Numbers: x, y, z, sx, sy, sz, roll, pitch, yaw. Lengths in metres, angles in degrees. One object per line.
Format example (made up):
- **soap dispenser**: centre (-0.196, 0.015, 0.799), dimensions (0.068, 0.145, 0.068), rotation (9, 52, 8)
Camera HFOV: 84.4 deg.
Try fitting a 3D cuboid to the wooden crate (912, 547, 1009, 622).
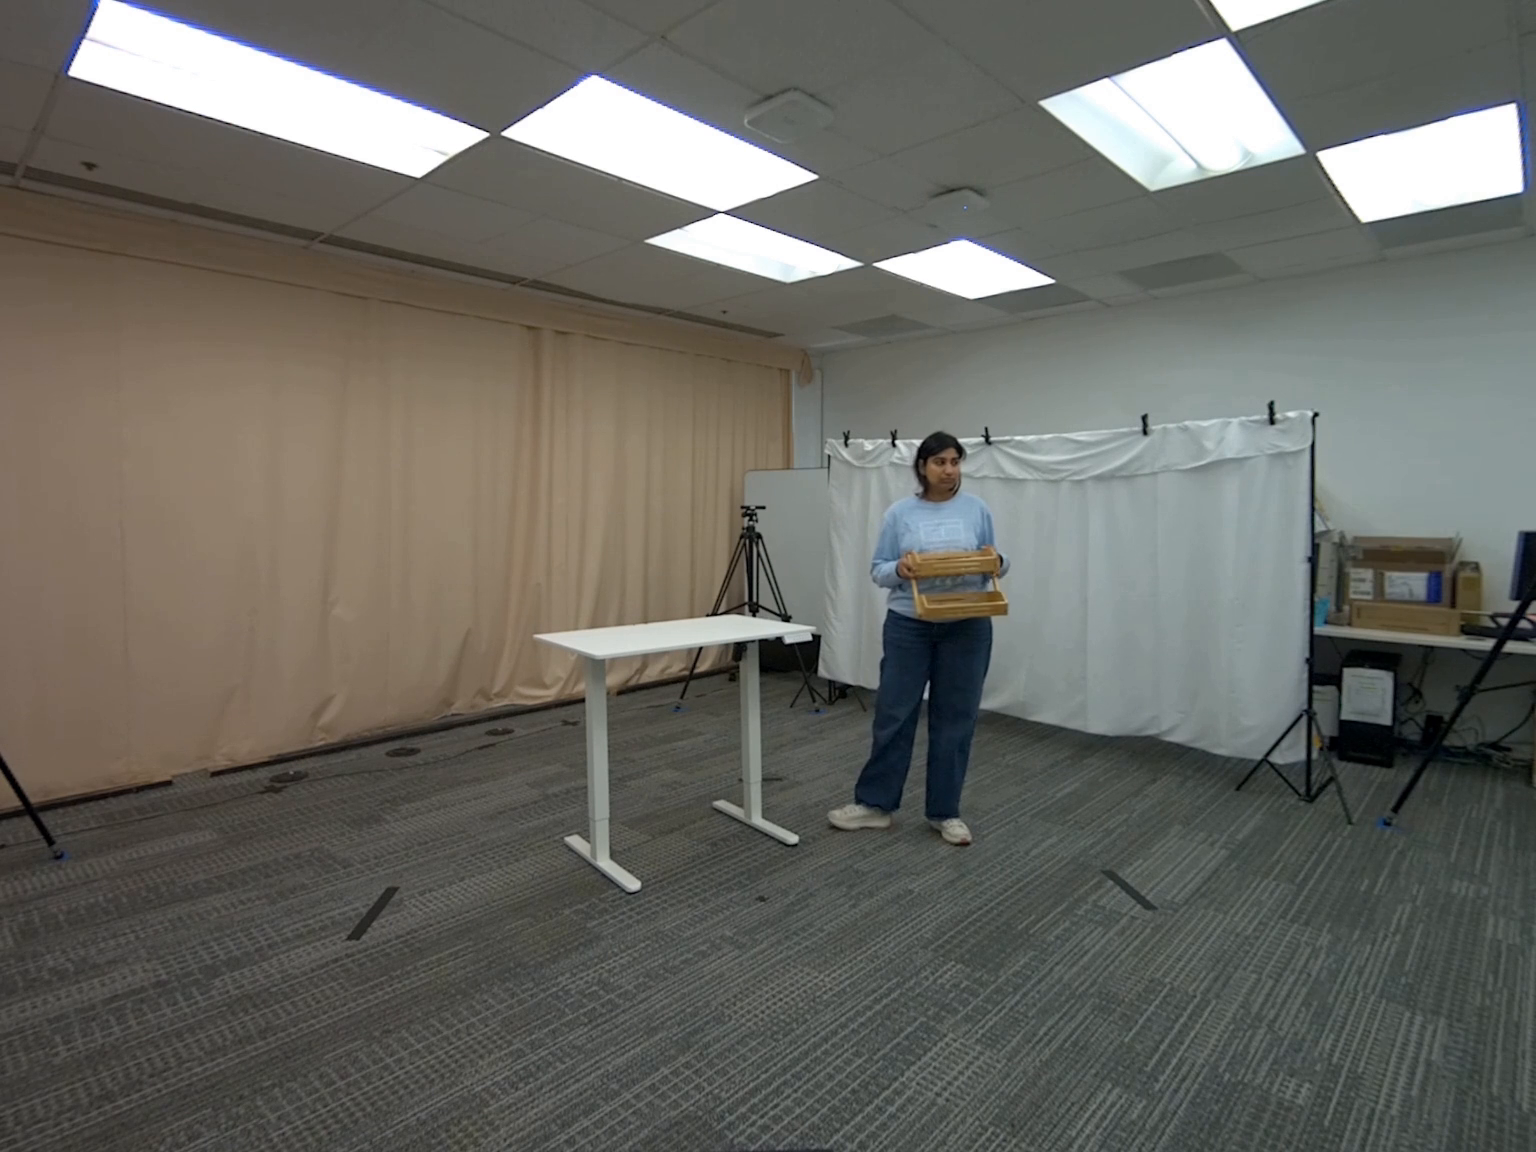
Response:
- **wooden crate**: centre (0.735, 0.025, 3.268), dimensions (0.326, 0.274, 0.300), rotation (-3, -4, 3)
